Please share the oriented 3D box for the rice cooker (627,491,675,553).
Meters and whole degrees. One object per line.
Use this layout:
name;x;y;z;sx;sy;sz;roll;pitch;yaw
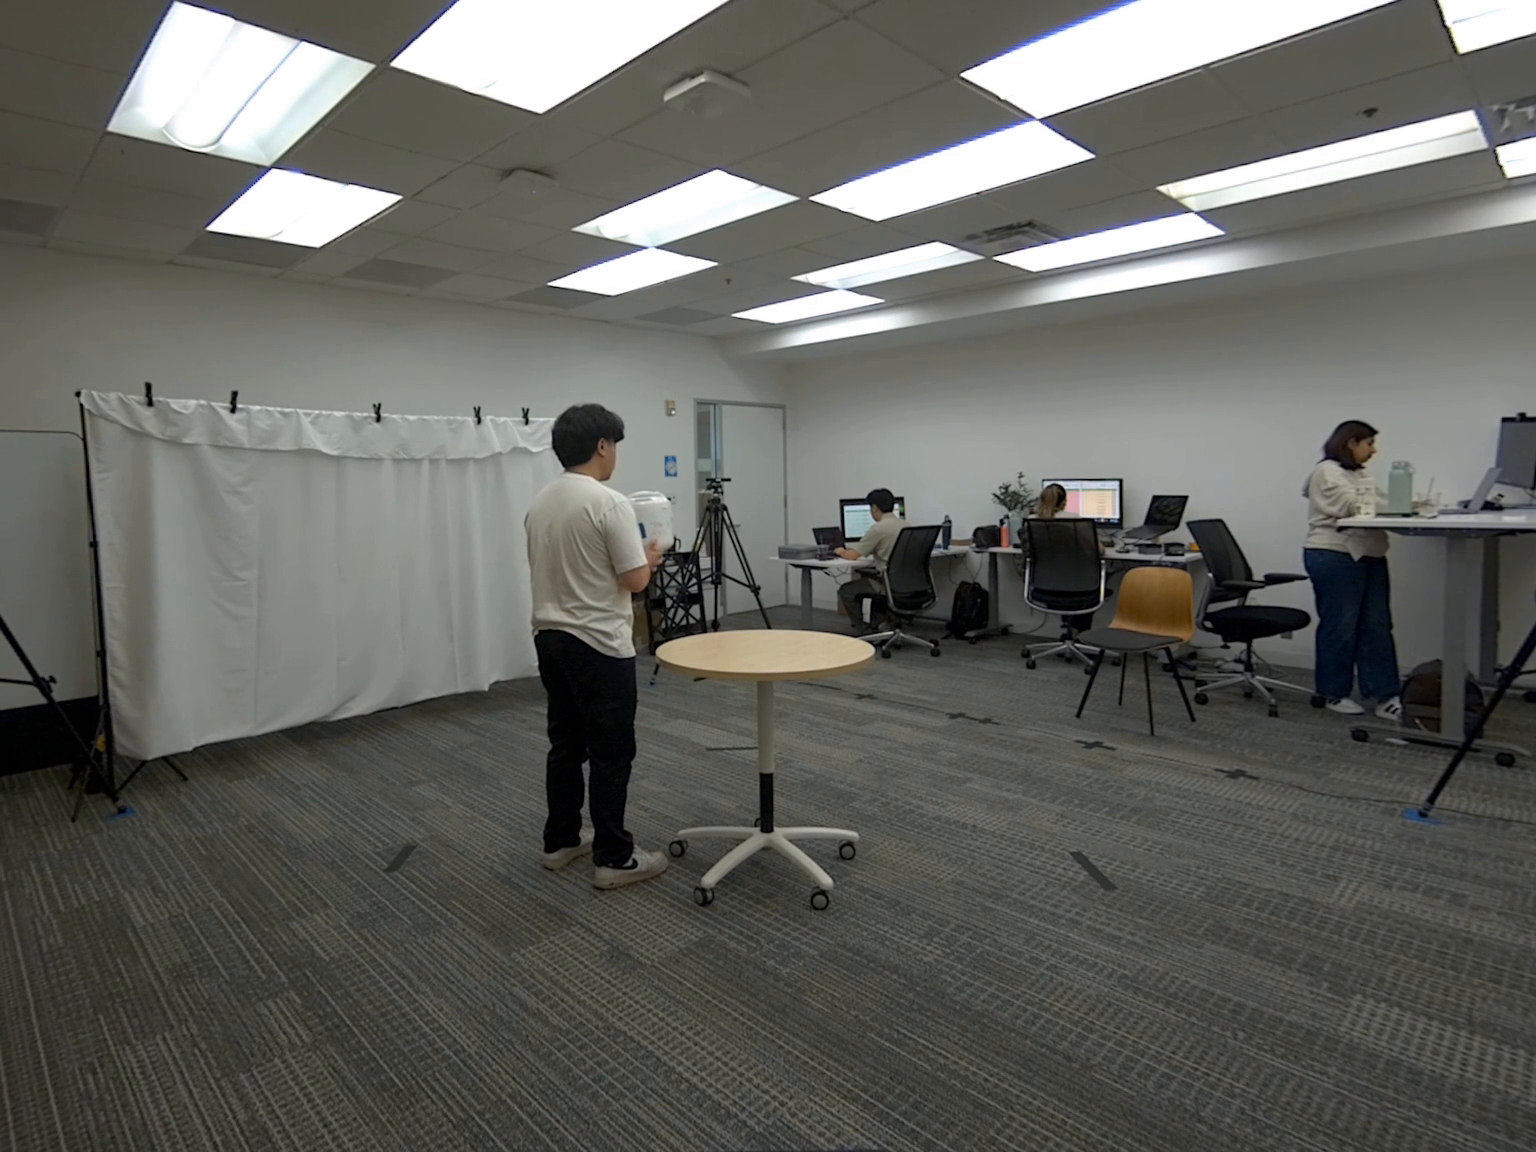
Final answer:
rice cooker;-0.475;-0.208;3.277;0.219;0.231;0.220;-7;6;-6
